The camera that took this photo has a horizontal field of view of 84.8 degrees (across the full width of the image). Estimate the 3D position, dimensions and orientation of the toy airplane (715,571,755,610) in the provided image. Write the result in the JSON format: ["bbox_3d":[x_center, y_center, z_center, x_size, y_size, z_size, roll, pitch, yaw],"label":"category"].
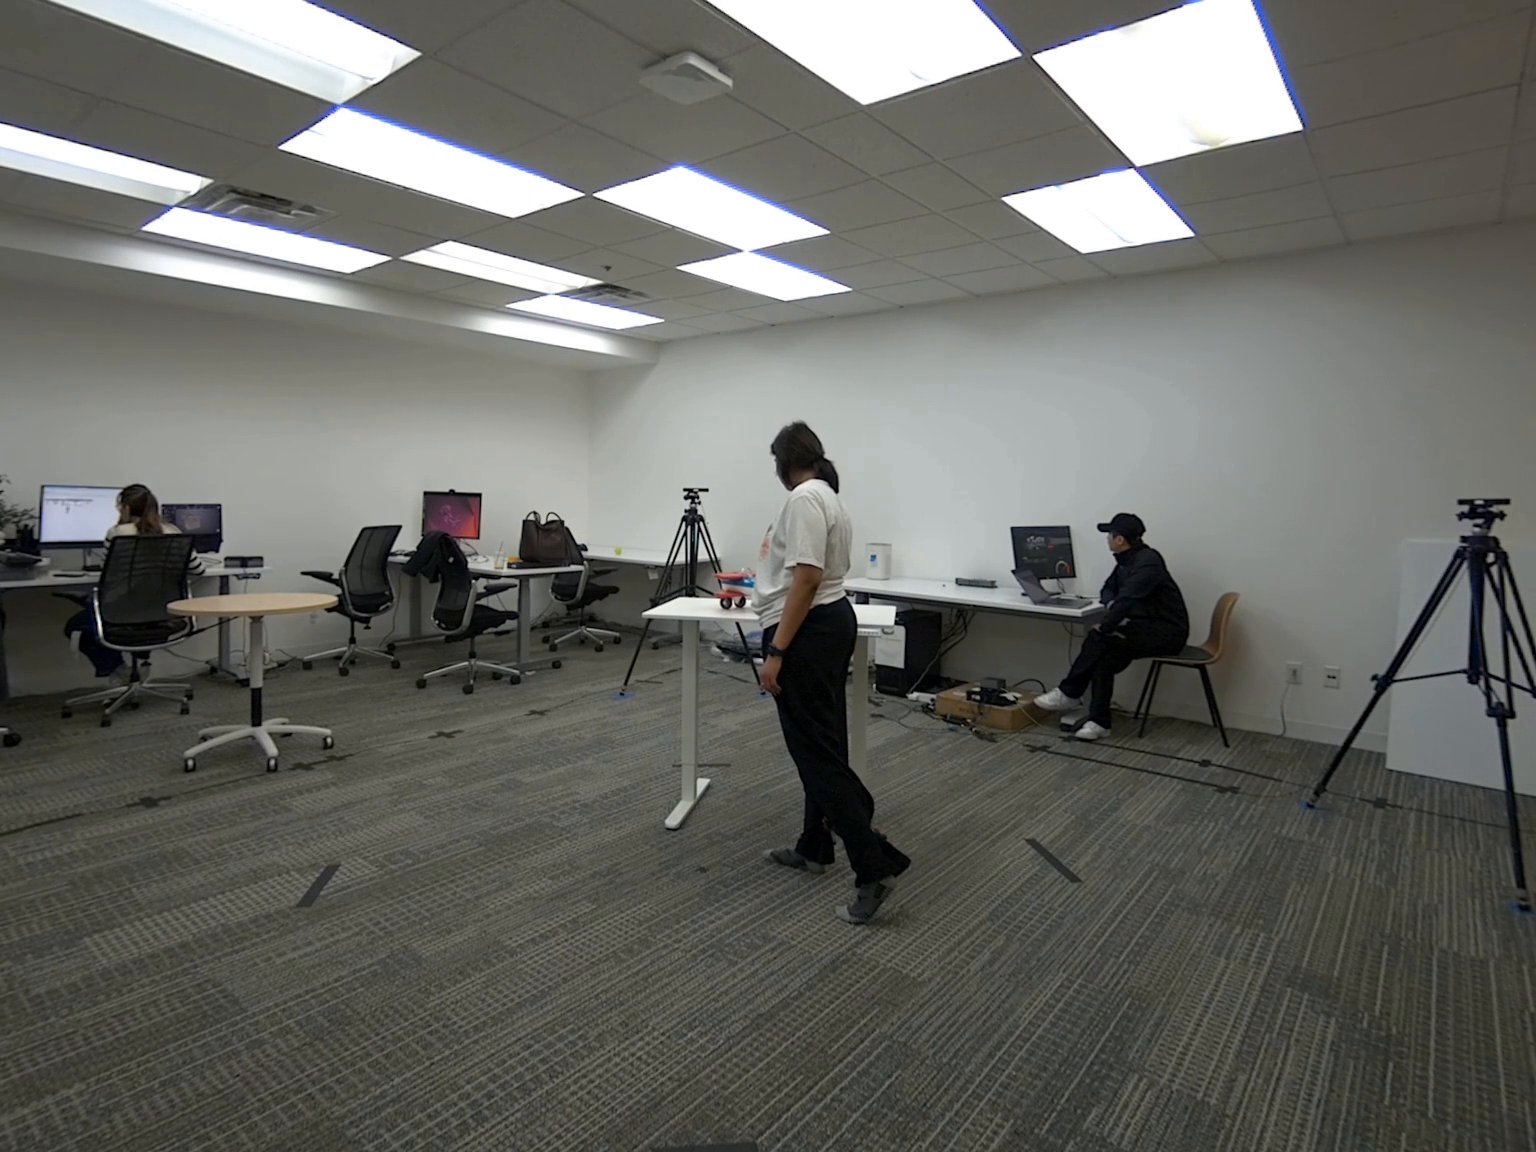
[{"bbox_3d":[-0.102,0.050,3.628,0.263,0.157,0.246,-9,-5,15],"label":"toy airplane"}]
